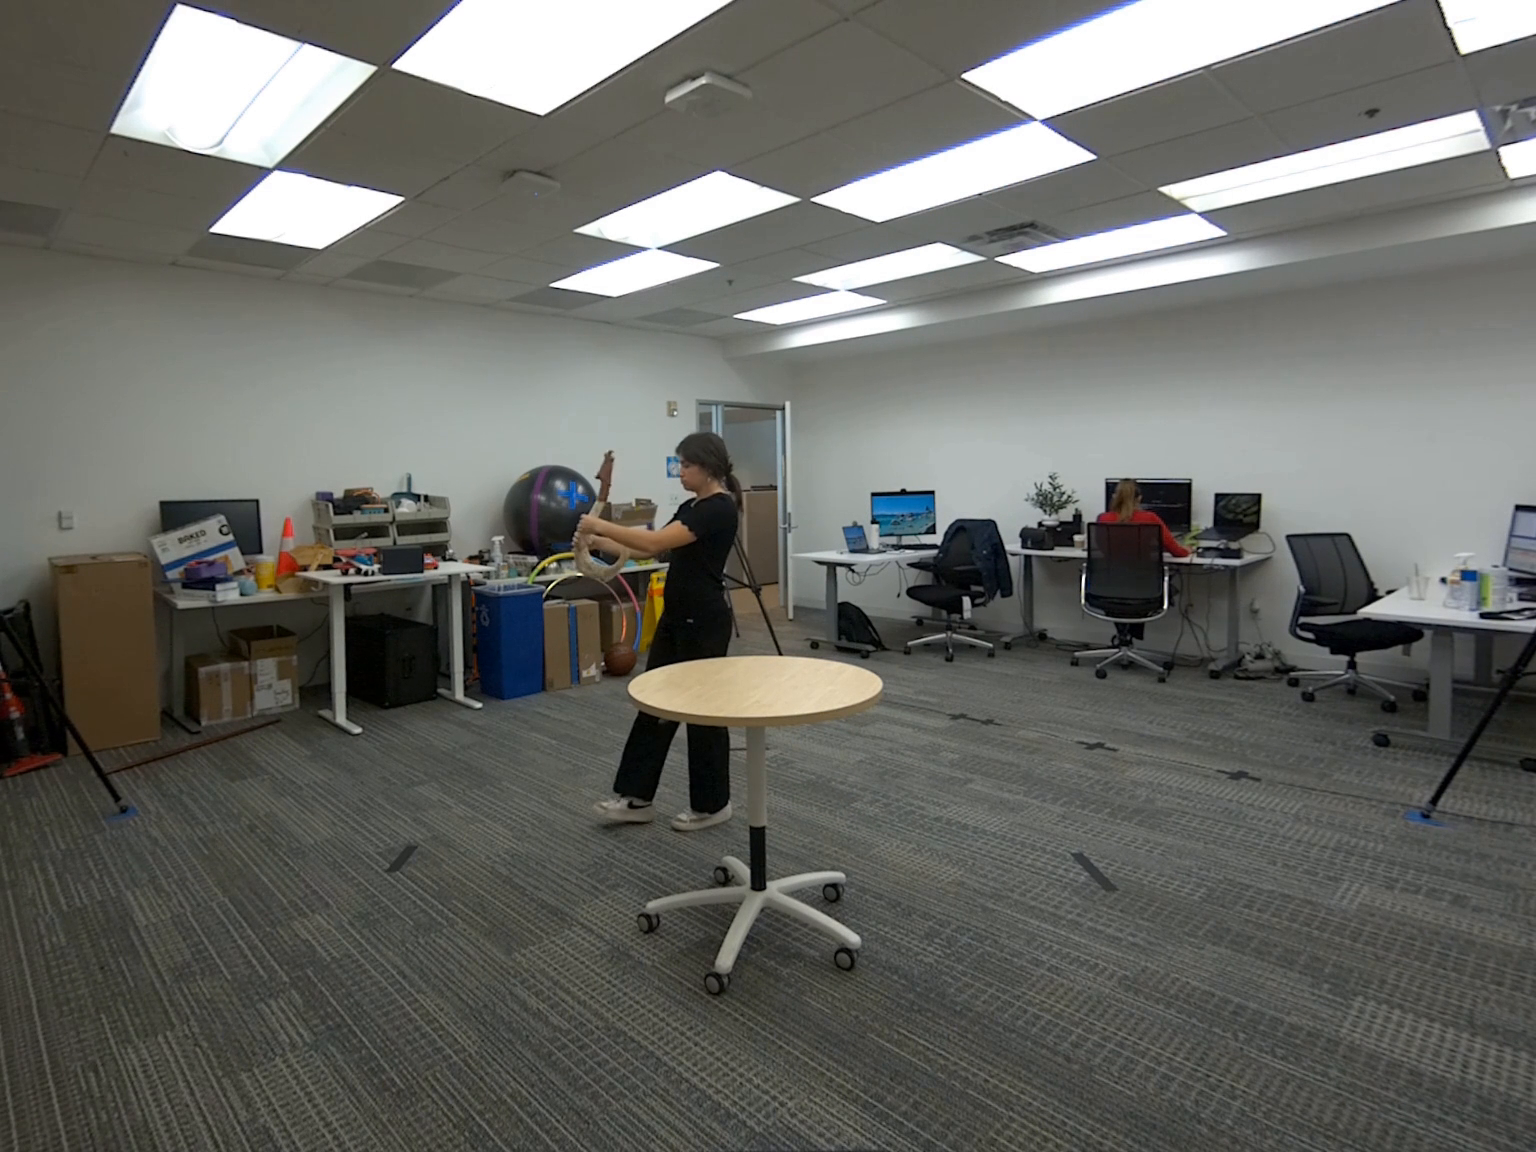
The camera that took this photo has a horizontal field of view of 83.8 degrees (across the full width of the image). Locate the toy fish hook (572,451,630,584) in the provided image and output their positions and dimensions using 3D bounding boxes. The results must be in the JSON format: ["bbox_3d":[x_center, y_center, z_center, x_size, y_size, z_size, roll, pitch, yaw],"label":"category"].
[{"bbox_3d":[-0.622,-0.226,3.333,0.227,0.505,0.048,16,5,8],"label":"toy fish hook"}]
